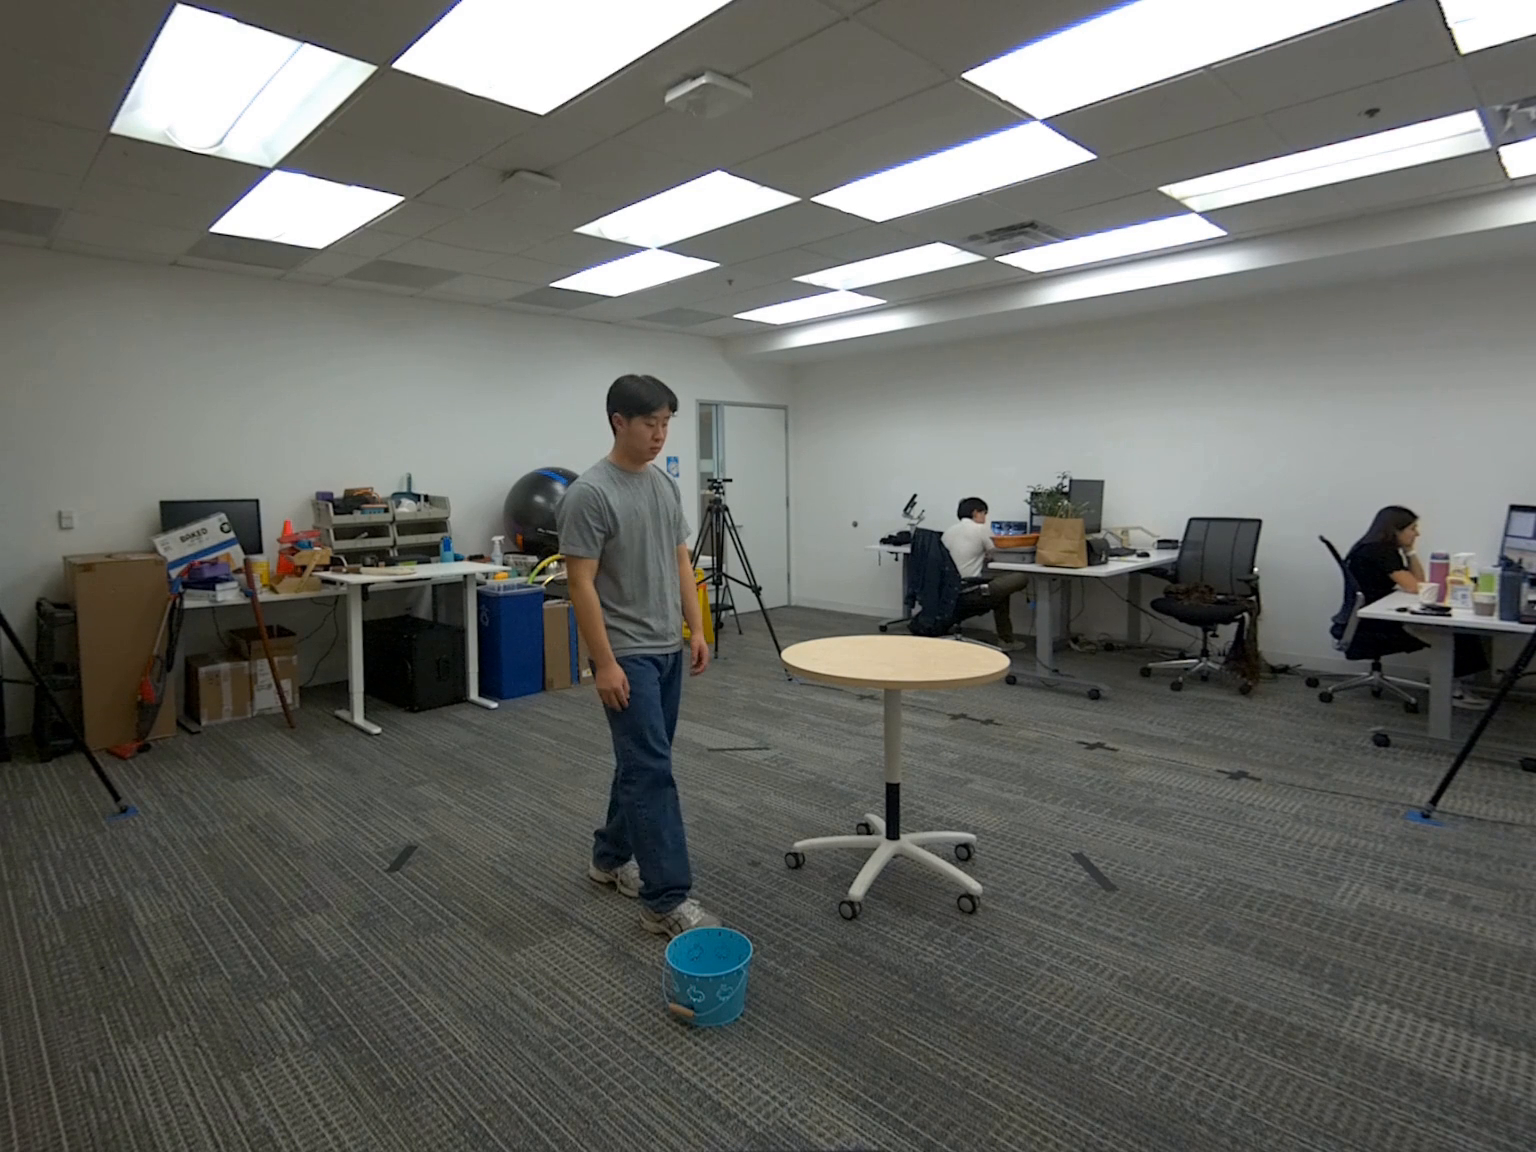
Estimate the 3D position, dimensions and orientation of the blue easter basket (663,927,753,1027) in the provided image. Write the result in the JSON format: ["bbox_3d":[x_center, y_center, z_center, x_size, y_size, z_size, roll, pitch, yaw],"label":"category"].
[{"bbox_3d":[-0.157,1.068,2.276,0.243,0.155,0.245,-2,6,-2],"label":"blue easter basket"}]
